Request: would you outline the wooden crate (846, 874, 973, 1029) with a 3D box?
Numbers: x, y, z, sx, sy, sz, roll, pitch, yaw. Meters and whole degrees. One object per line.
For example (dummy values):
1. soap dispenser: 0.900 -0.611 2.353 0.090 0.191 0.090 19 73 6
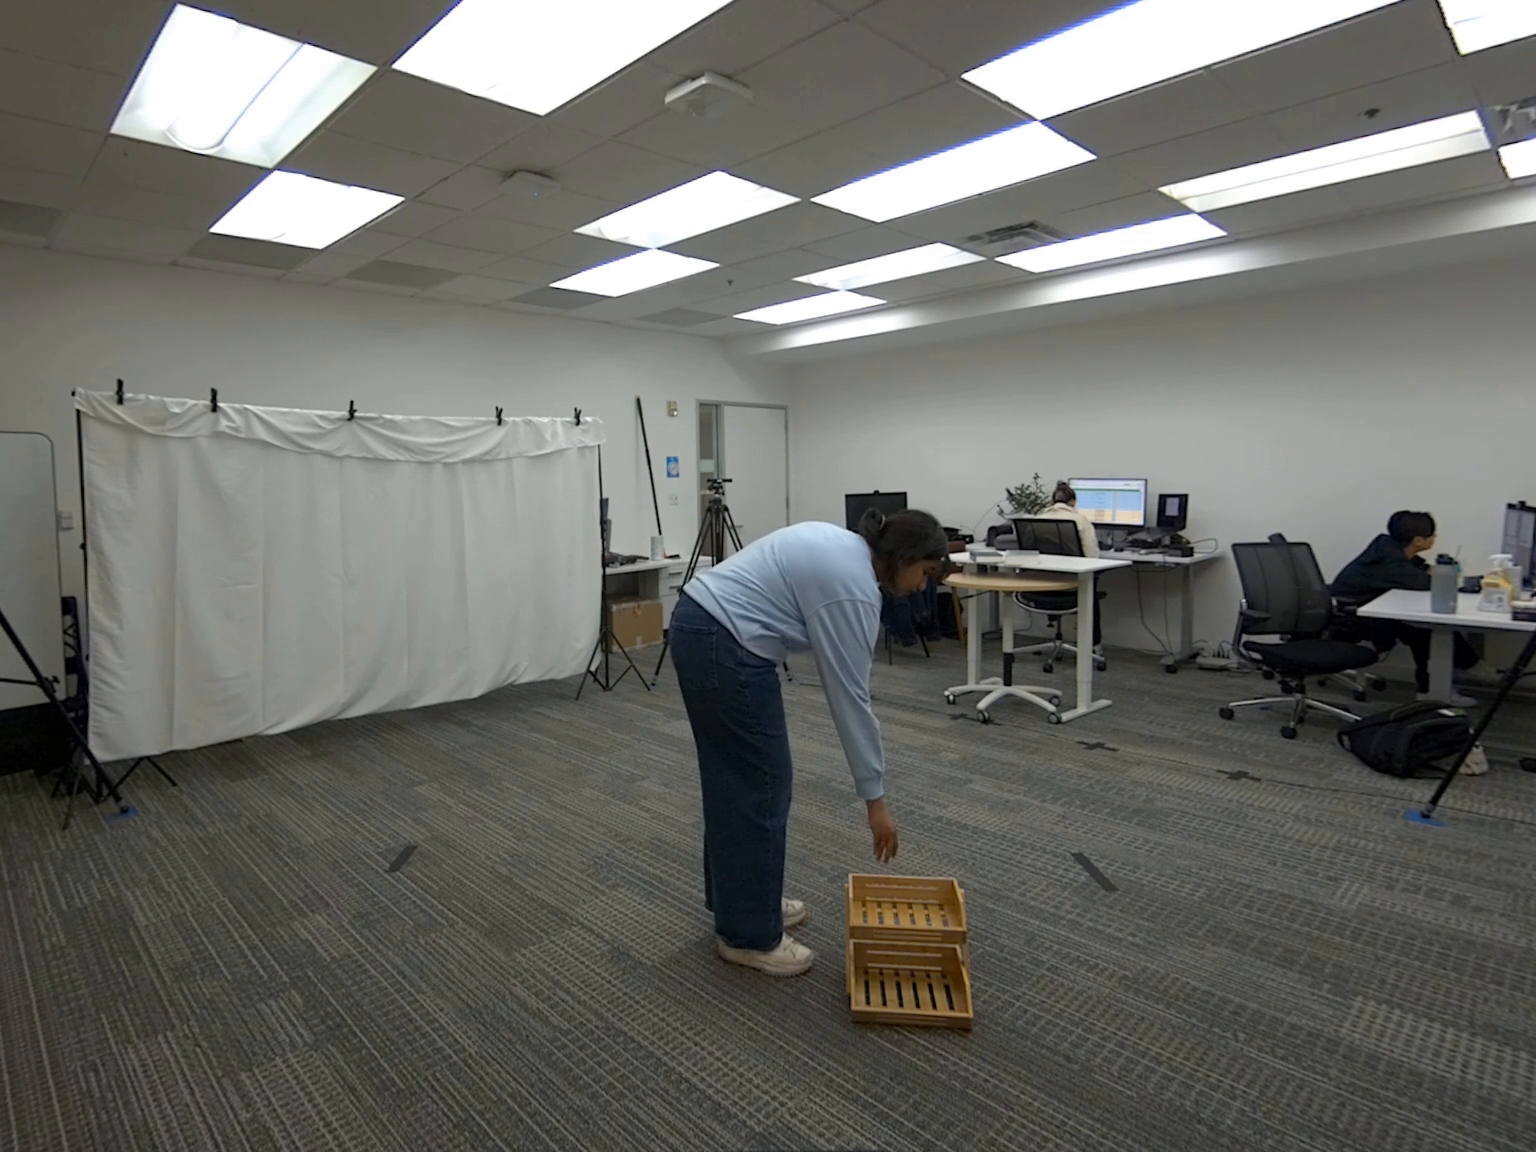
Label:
1. wooden crate: 0.377 1.000 2.287 0.327 0.272 0.301 0 5 7
